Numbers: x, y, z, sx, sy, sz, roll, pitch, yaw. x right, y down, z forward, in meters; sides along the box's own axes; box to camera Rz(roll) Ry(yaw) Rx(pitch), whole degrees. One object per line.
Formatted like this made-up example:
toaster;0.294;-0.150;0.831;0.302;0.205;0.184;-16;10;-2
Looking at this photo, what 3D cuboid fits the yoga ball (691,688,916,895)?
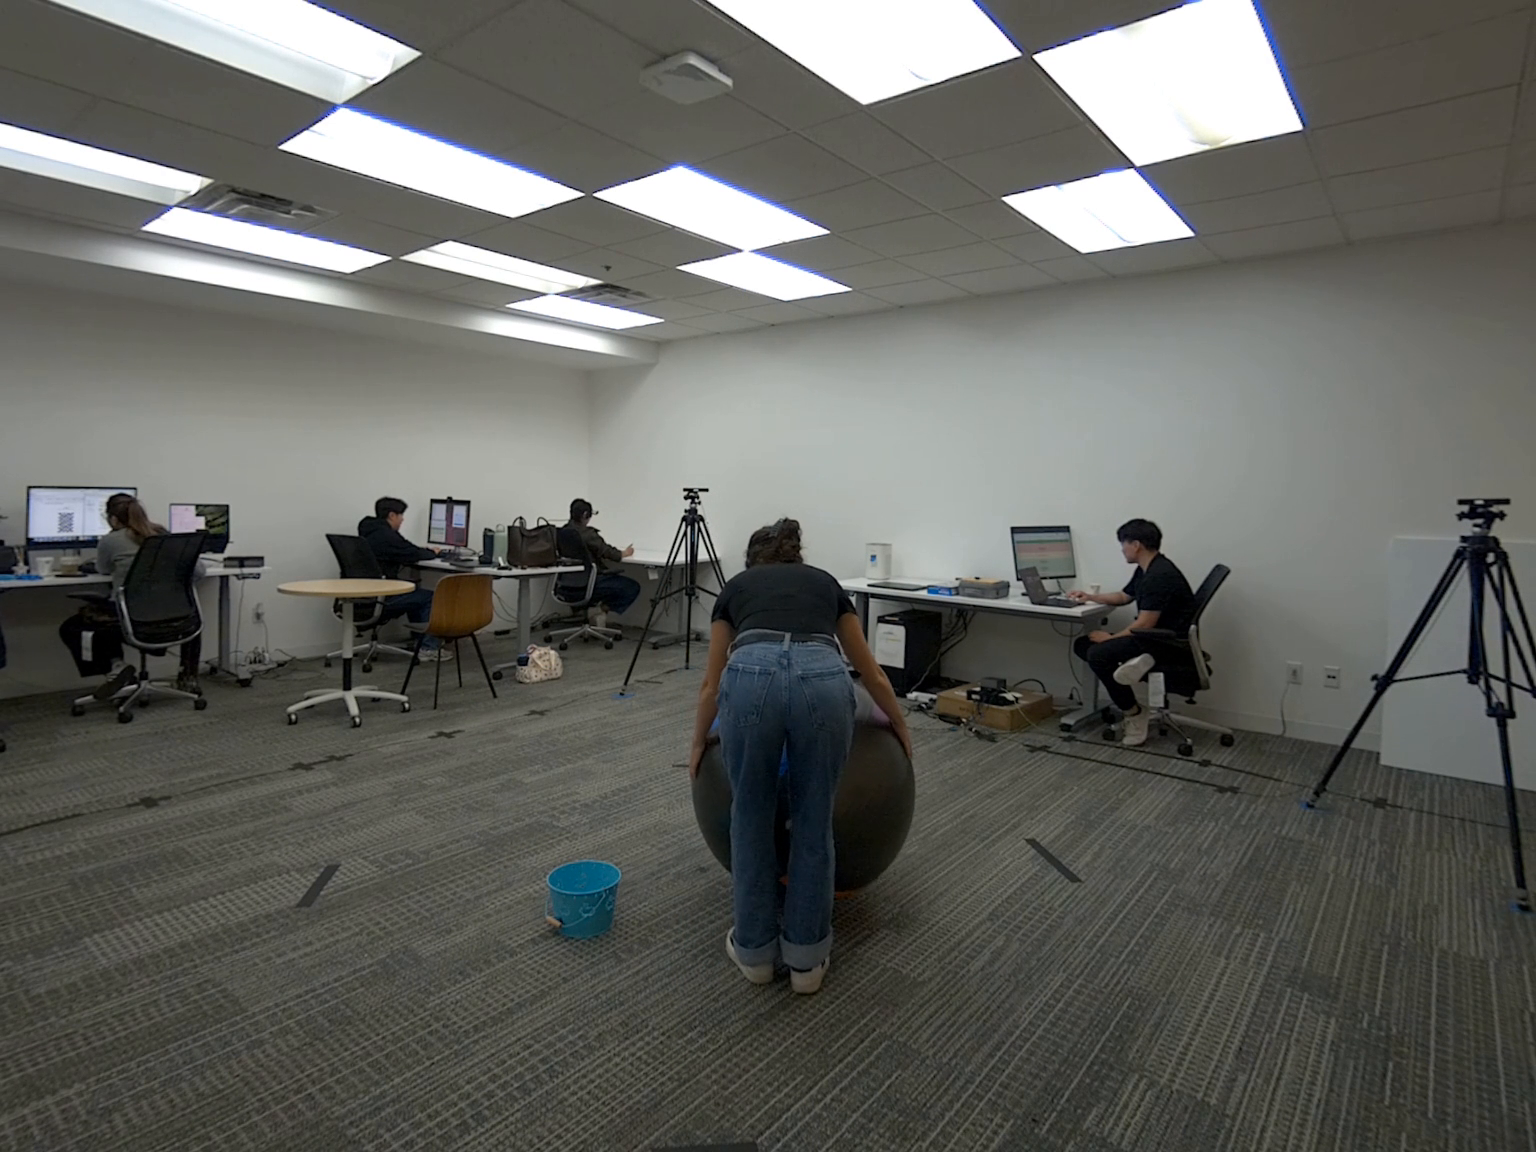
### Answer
yoga ball;0.103;0.702;2.898;0.757;0.756;0.762;1;4;-2
